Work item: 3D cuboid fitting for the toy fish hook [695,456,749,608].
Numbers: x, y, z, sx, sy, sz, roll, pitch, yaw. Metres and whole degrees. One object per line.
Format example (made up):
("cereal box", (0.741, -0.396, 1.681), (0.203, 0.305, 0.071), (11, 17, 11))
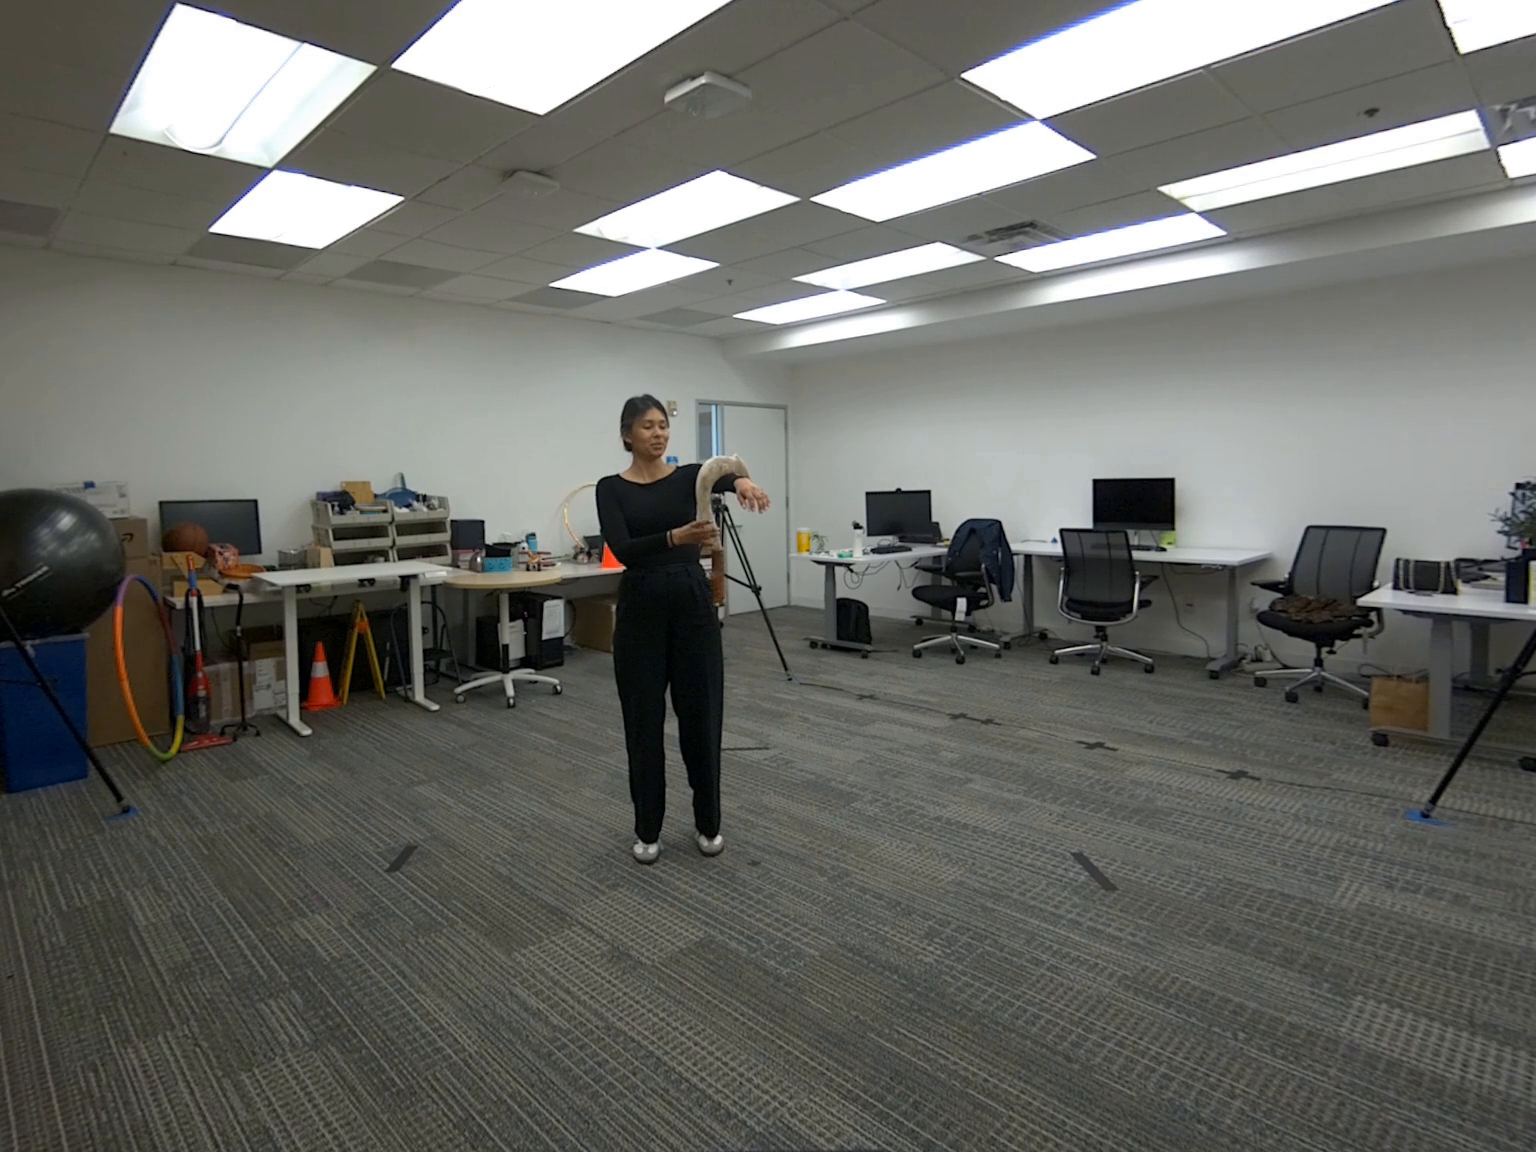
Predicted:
("toy fish hook", (-0.130, -0.148, 2.857), (0.220, 0.502, 0.050), (-6, 11, -23))
